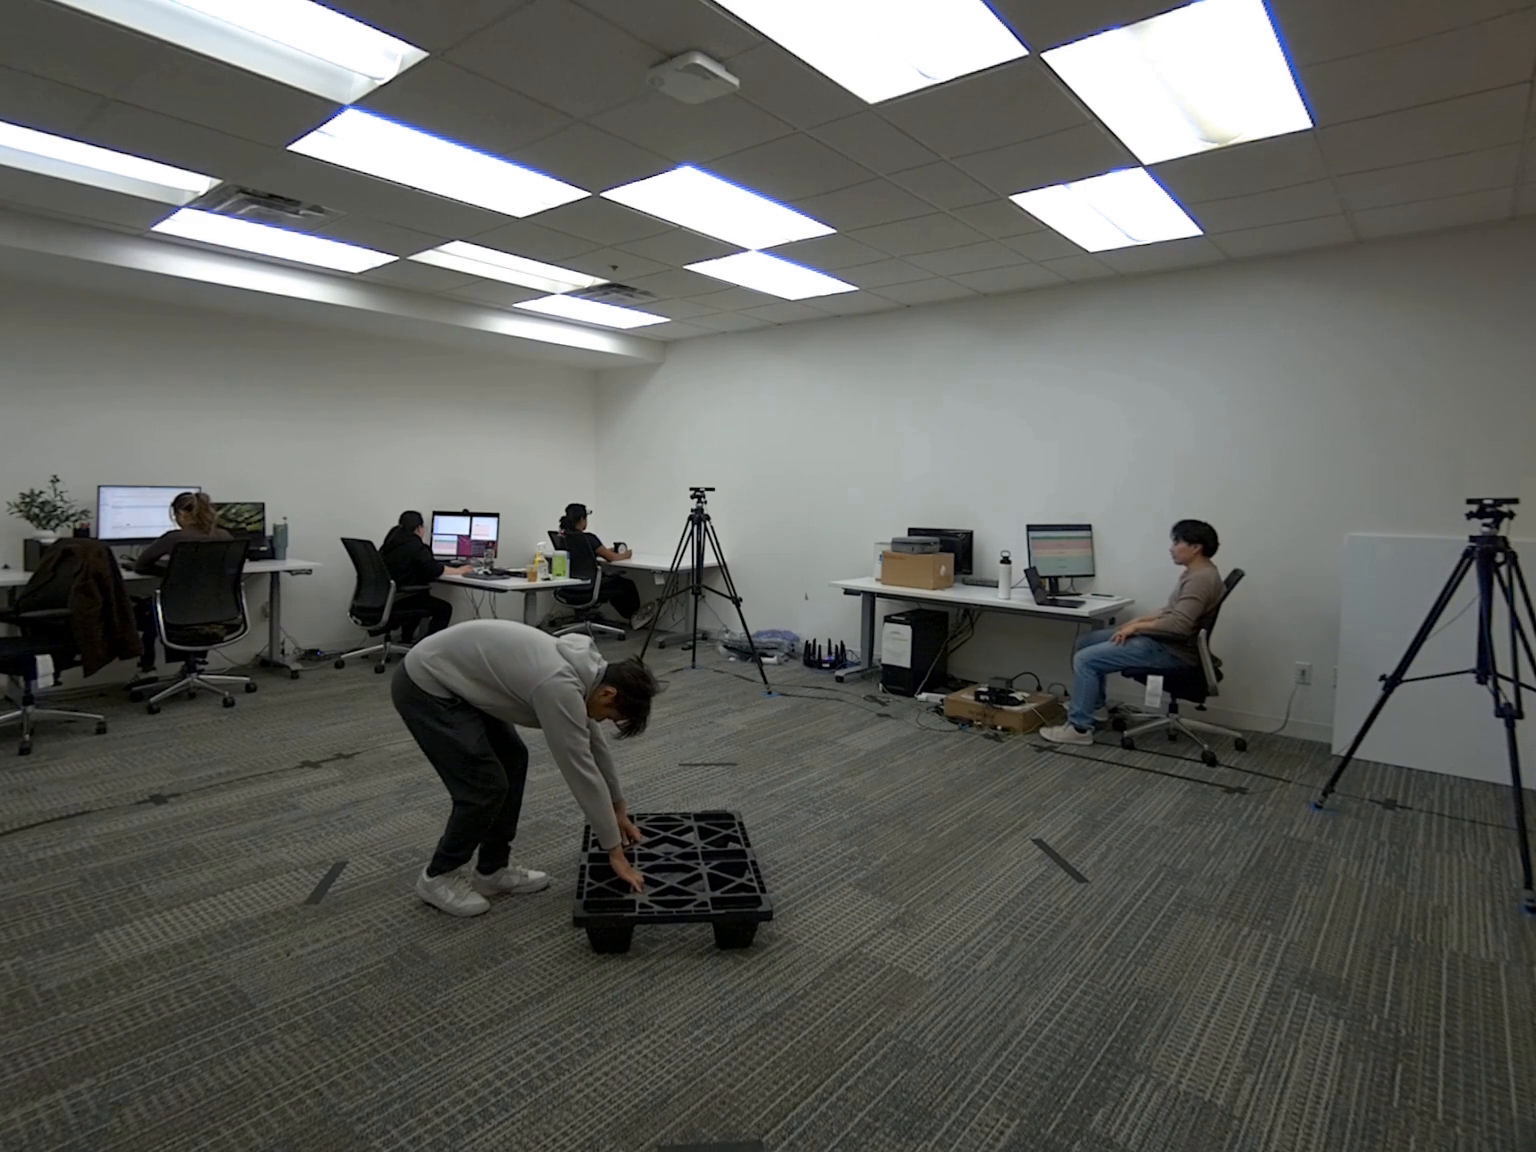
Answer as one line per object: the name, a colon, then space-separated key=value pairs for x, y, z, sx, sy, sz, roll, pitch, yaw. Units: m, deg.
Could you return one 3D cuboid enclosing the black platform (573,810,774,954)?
black platform: x=-0.352 y=1.012 z=2.903 sx=0.600 sy=0.143 sz=0.815 roll=-1 pitch=6 yaw=-8
